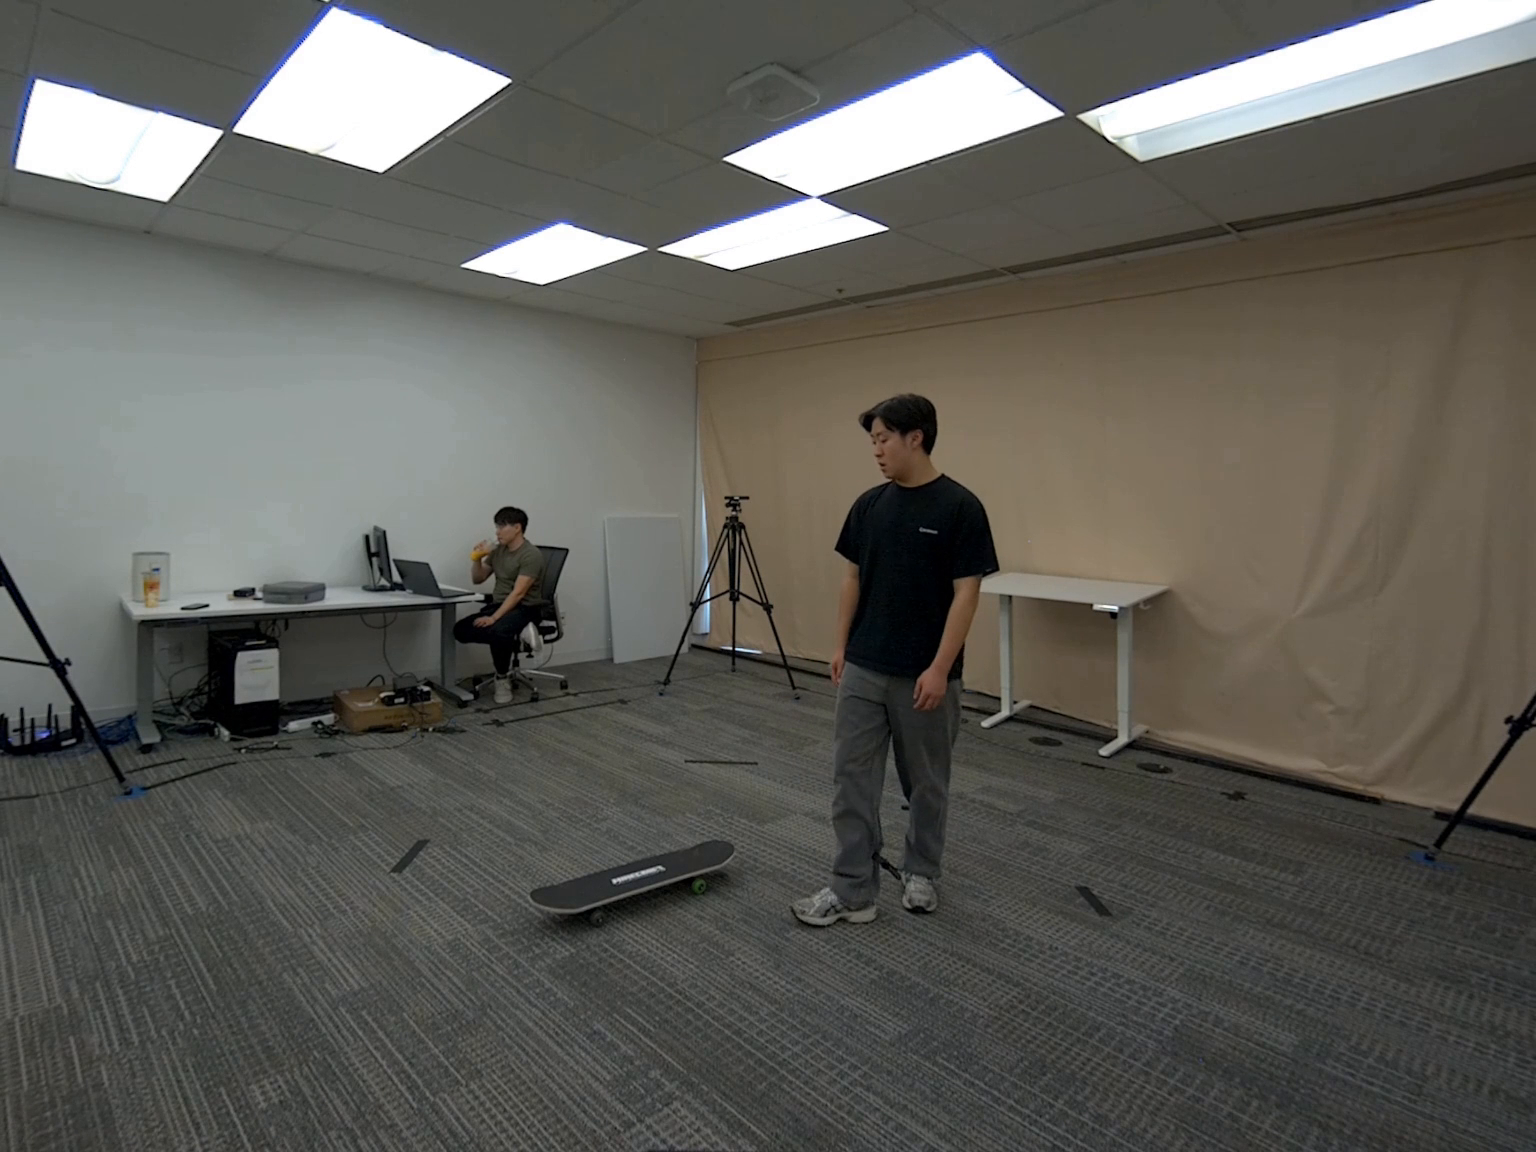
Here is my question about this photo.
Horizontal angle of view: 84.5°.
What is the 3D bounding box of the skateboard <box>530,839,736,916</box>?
[{"bbox_3d":[-0.448,1.056,2.892,0.768,0.110,0.198,-3,6,-38],"label":"skateboard"}]
